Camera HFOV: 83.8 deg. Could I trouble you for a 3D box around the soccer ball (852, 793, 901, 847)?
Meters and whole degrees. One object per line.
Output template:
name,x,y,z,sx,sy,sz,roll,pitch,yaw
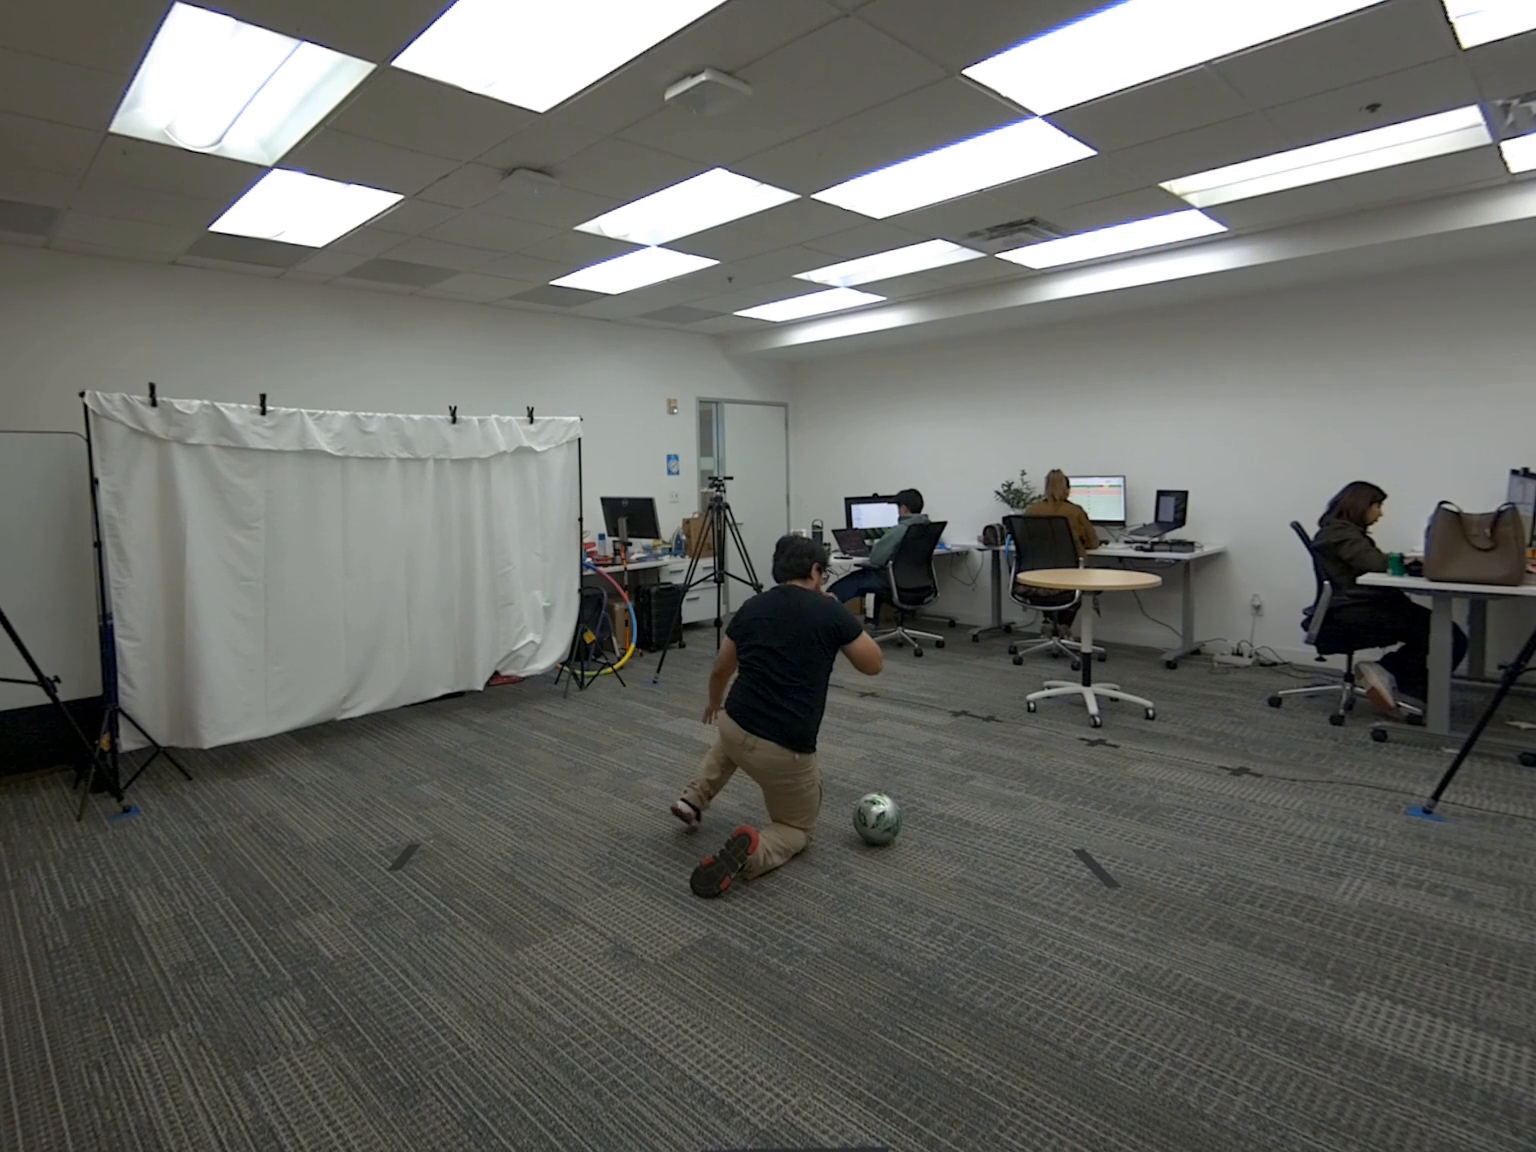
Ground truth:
soccer ball,0.406,0.913,3.237,0.187,0.187,0.188,-1,5,-2
